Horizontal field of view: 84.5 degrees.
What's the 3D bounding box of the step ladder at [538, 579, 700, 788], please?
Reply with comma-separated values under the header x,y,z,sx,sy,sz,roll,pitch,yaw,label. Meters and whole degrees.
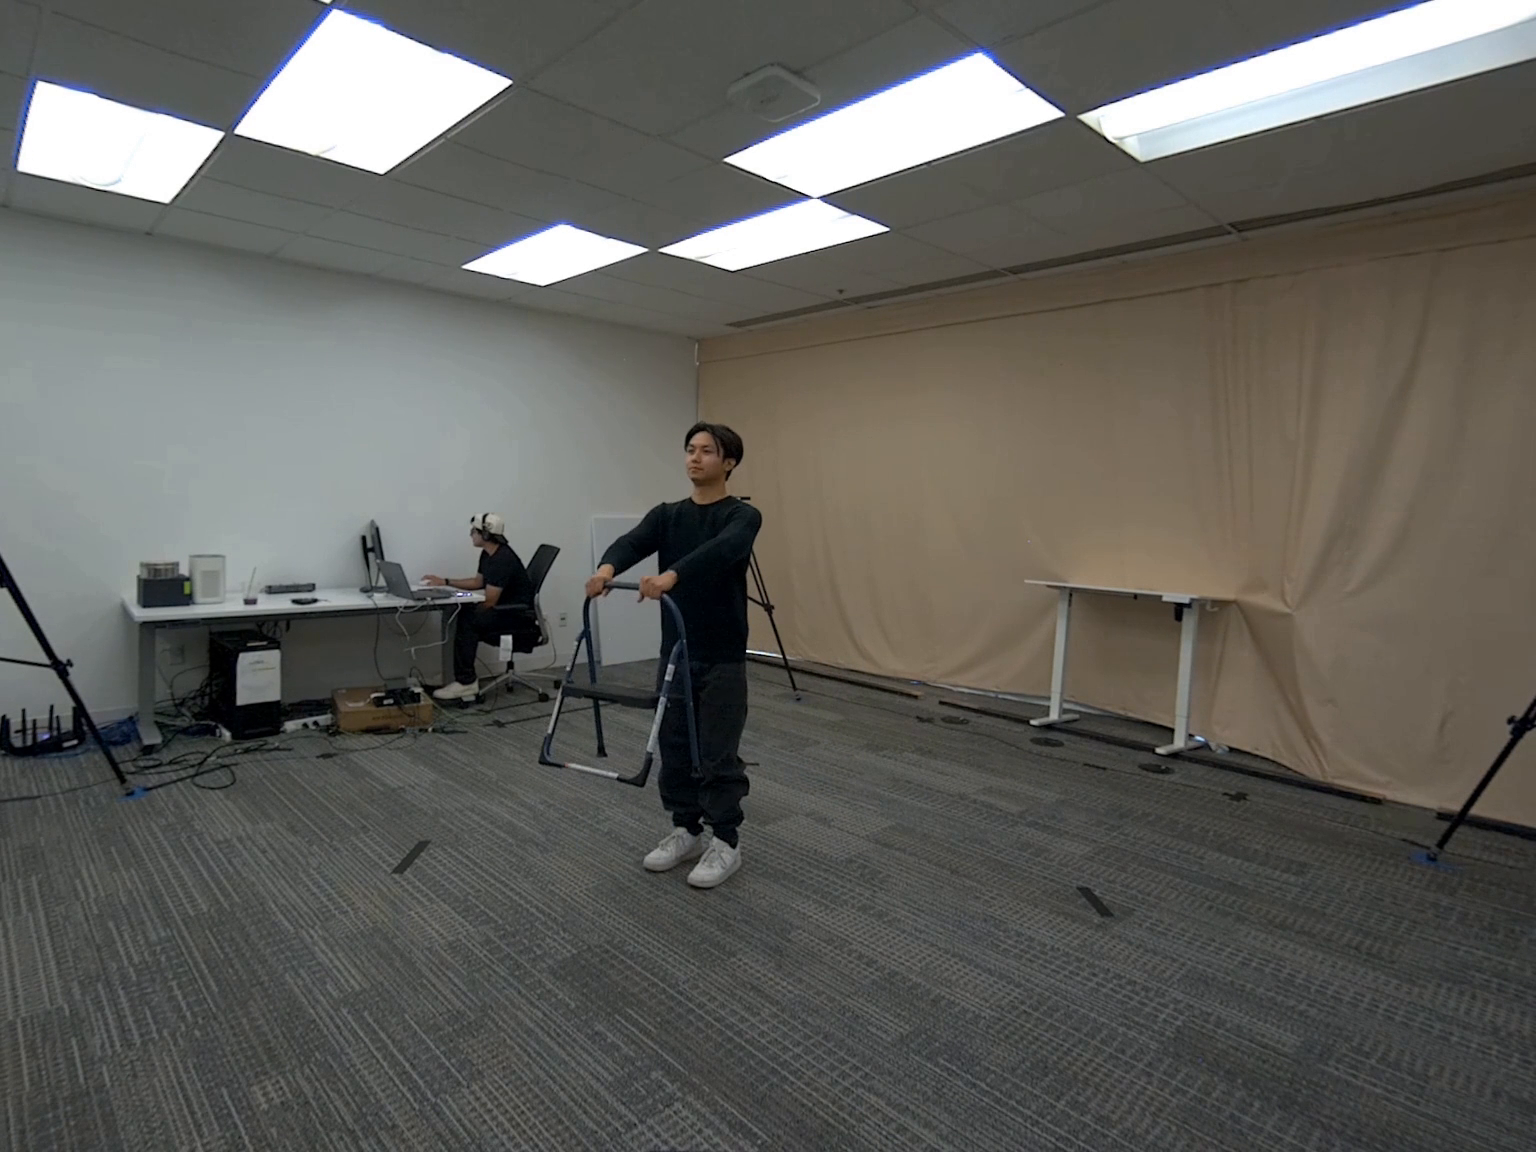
x,y,z,sx,sy,sz,roll,pitch,yaw,label
-0.461,0.335,2.762,0.439,0.608,0.341,2,-6,28,step ladder
